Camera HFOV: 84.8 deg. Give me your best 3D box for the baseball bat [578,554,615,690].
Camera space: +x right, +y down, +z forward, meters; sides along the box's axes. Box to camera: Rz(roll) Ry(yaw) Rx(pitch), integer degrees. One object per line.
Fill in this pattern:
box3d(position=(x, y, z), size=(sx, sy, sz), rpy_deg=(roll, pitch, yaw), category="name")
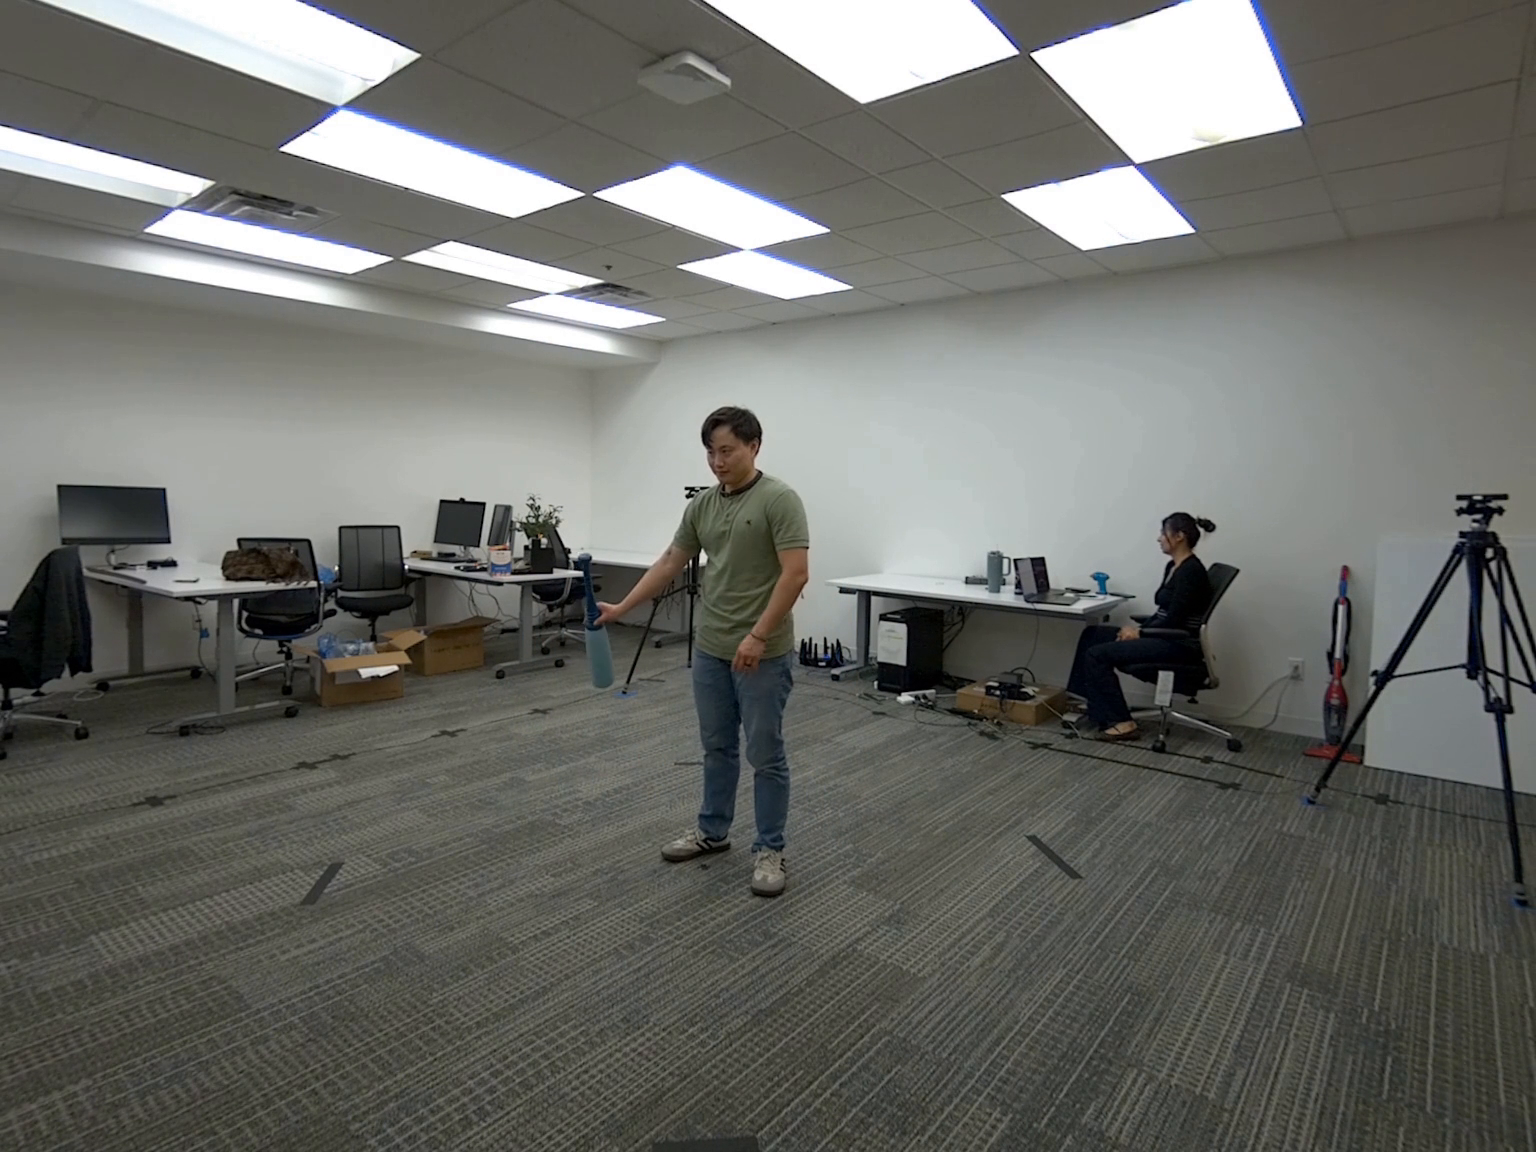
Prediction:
box3d(position=(-0.644, 0.161, 3.123), size=(0.089, 0.530, 0.091), rpy_deg=(-4, 25, 0), category="baseball bat")
